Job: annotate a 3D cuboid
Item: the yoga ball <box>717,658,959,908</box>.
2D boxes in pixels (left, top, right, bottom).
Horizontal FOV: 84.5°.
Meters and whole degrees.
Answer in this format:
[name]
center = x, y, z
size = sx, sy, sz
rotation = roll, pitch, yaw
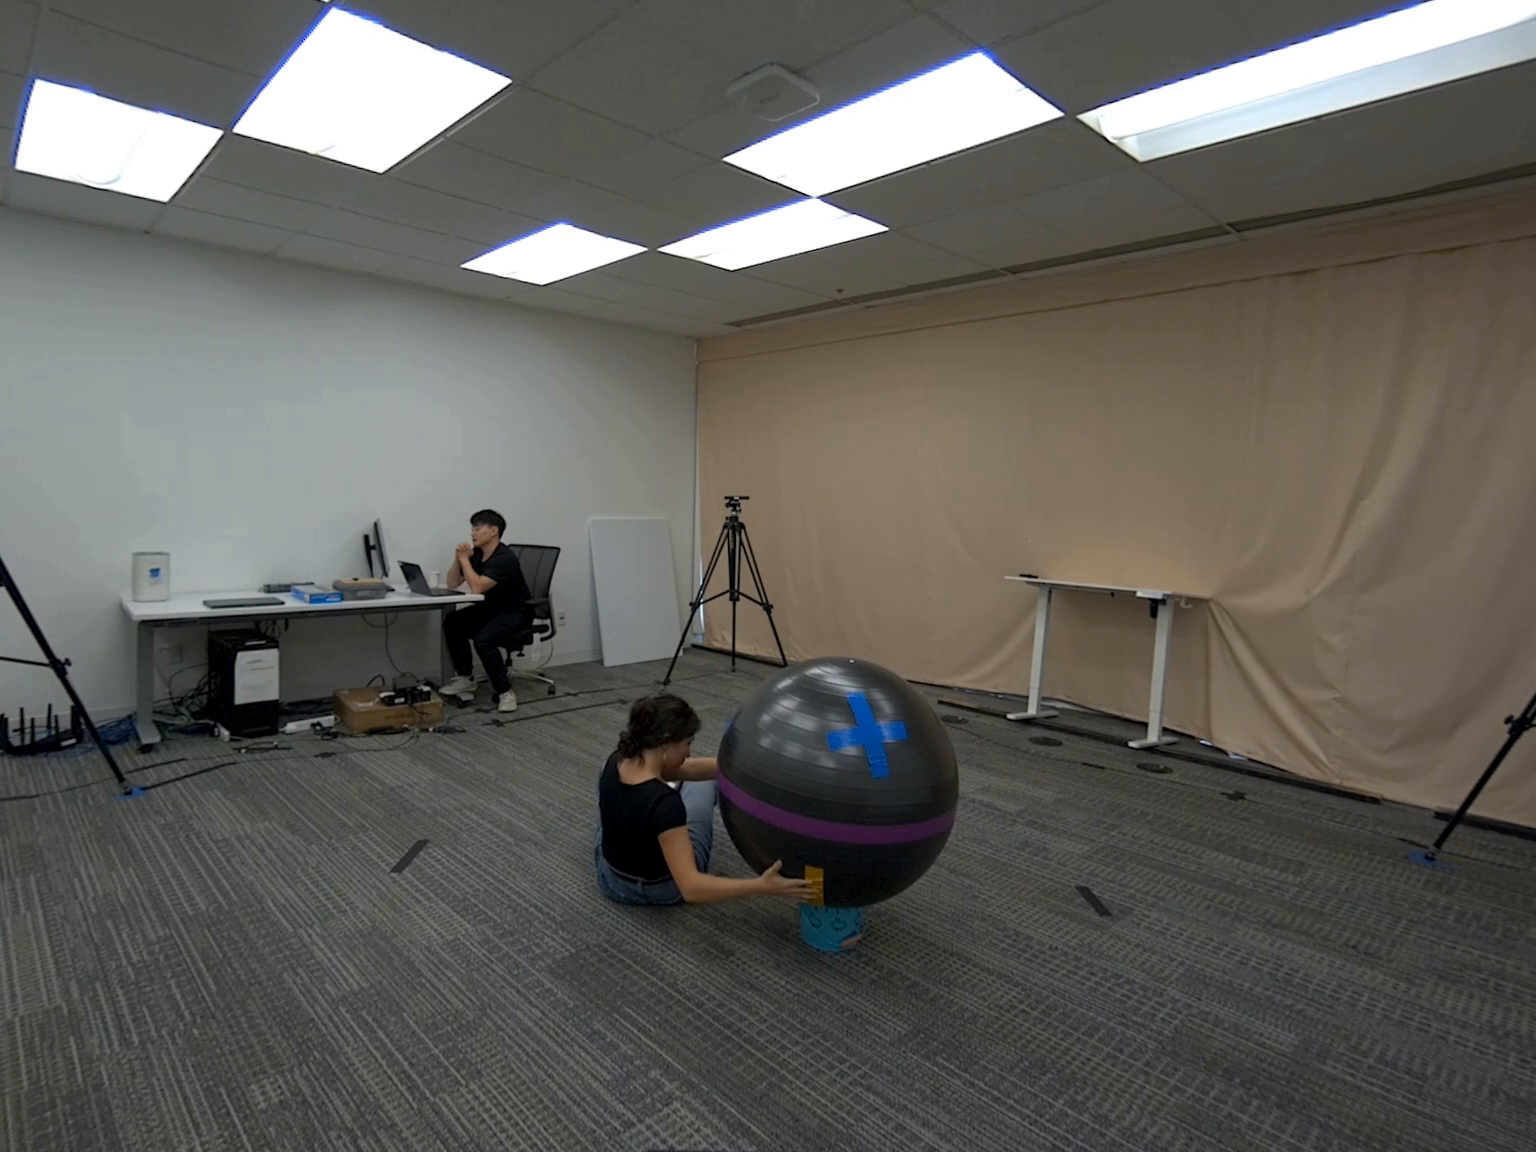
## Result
[yoga ball]
center = 0.214, 0.642, 2.651
size = 0.757, 0.756, 0.761
rotation = 1, 4, -1
